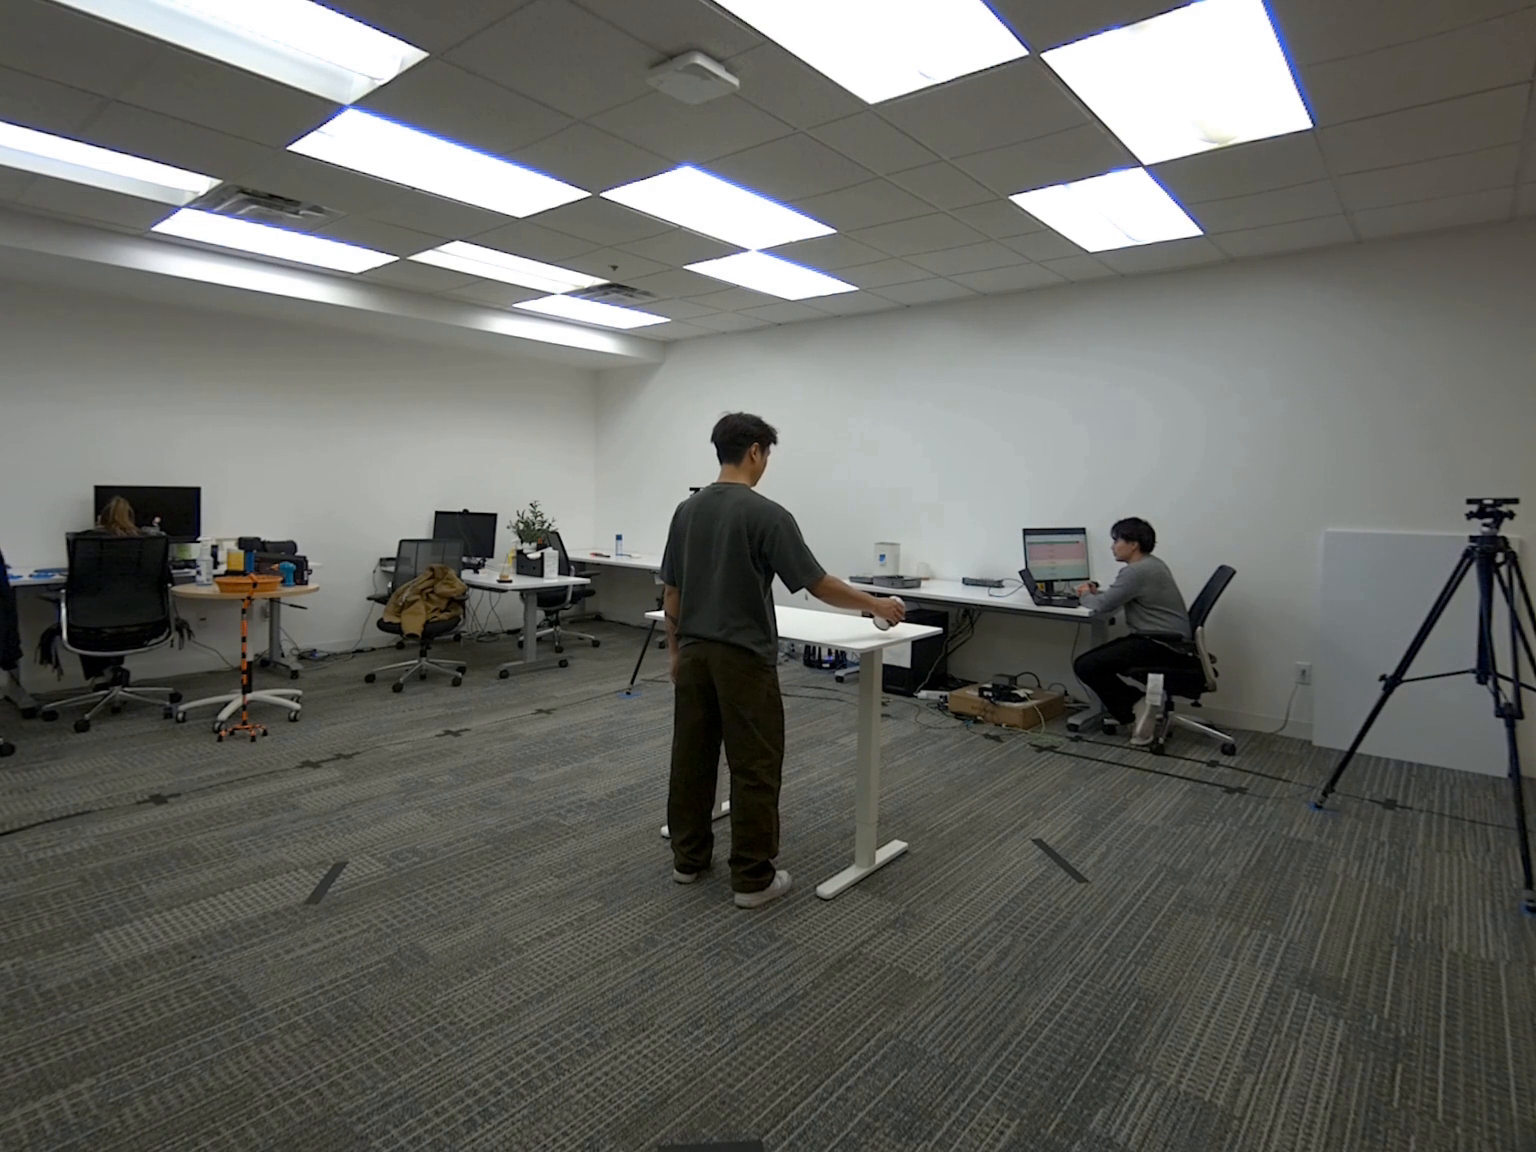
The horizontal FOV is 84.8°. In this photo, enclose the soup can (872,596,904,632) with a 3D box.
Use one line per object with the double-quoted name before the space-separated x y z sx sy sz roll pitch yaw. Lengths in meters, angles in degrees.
"soup can" 0.419 0.134 2.993 0.069 0.065 0.121 5 47 47
